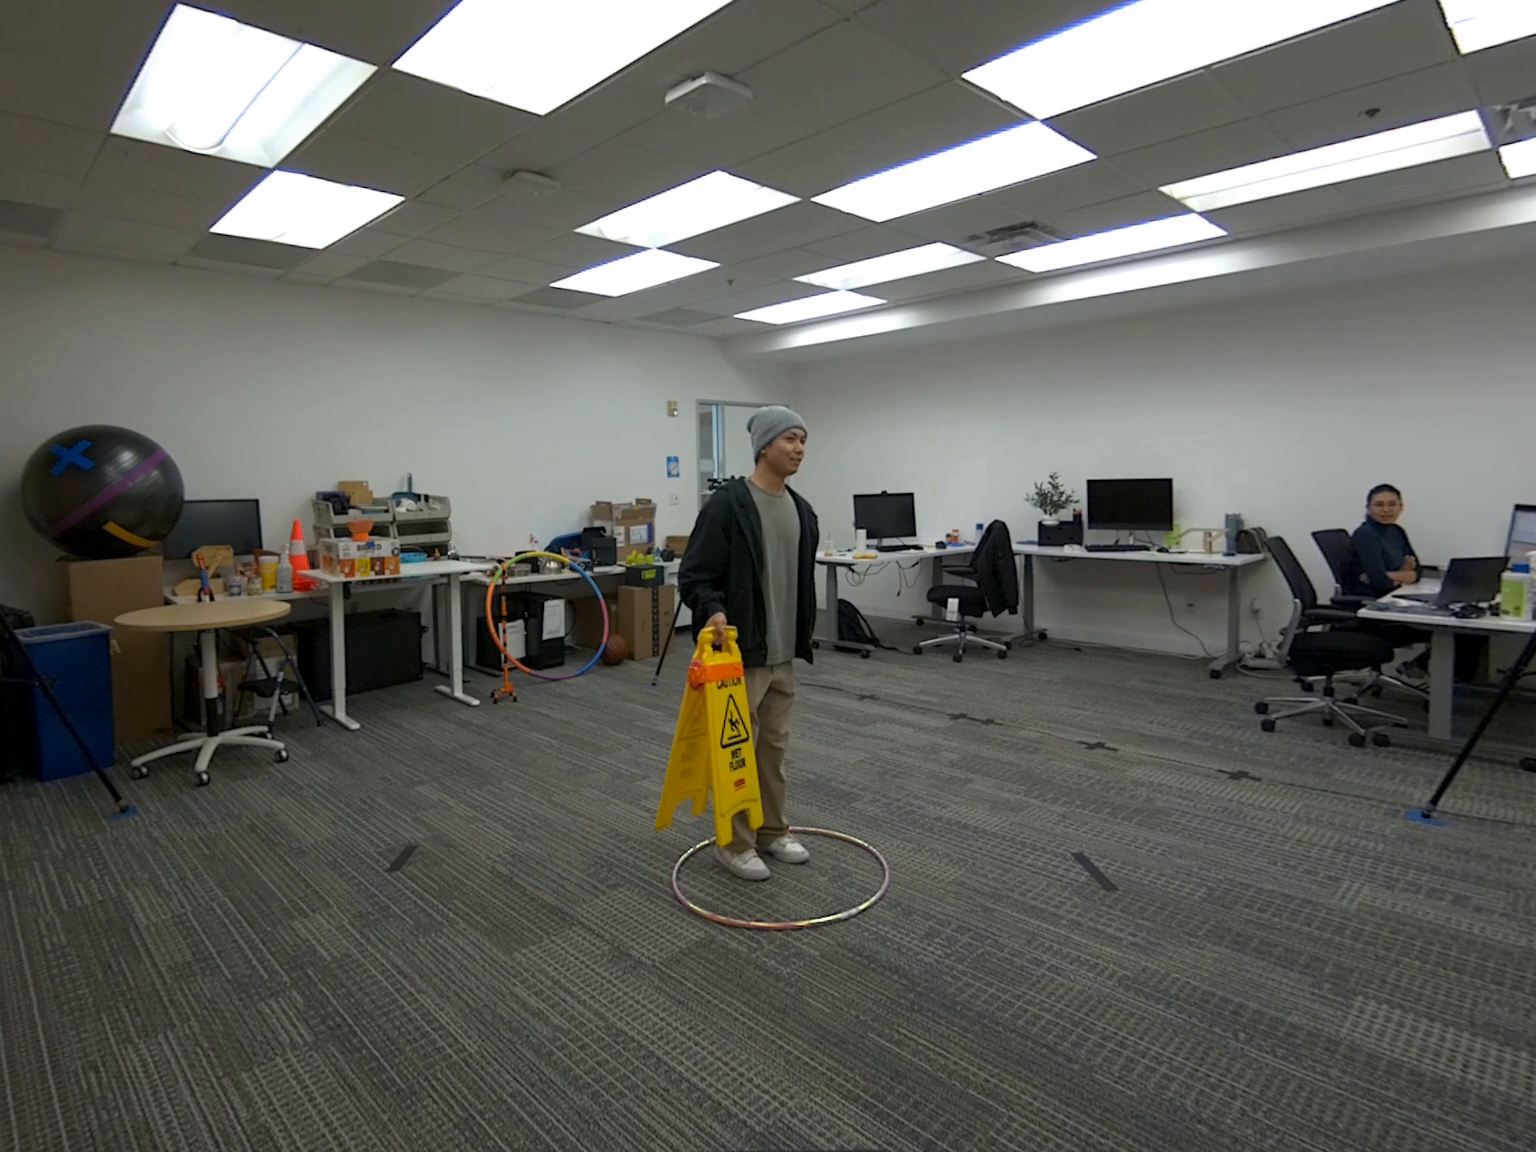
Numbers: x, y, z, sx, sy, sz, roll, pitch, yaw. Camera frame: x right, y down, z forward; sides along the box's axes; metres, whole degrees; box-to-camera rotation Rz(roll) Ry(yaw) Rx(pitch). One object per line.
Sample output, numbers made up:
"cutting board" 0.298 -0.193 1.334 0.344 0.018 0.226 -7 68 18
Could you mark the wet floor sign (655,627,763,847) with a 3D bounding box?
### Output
"wet floor sign" -0.171 0.494 2.772 0.297 0.646 0.275 2 0 29
